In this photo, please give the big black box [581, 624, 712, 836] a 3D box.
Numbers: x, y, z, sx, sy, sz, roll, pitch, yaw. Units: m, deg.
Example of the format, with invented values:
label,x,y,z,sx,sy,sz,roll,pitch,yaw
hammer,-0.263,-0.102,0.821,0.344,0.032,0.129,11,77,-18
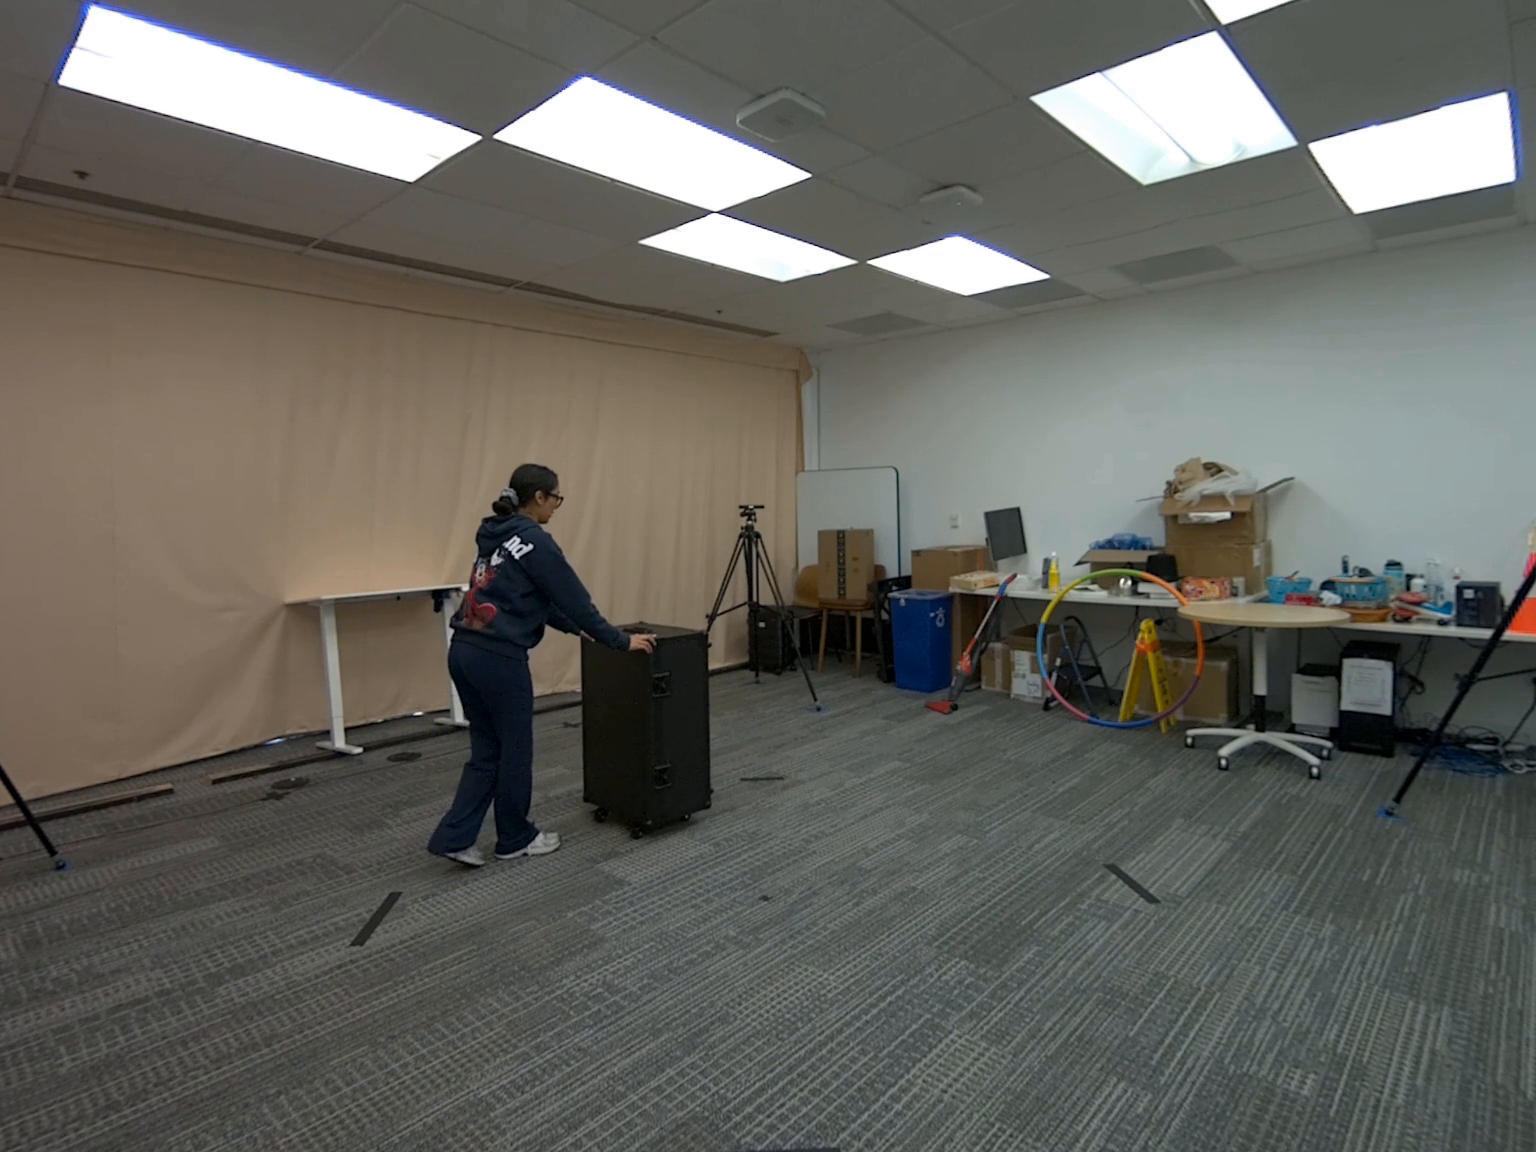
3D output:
label,x,y,z,sx,sy,sz,roll,pitch,yaw
big black box,-0.545,0.662,3.760,0.384,0.860,0.538,-2,3,-44
